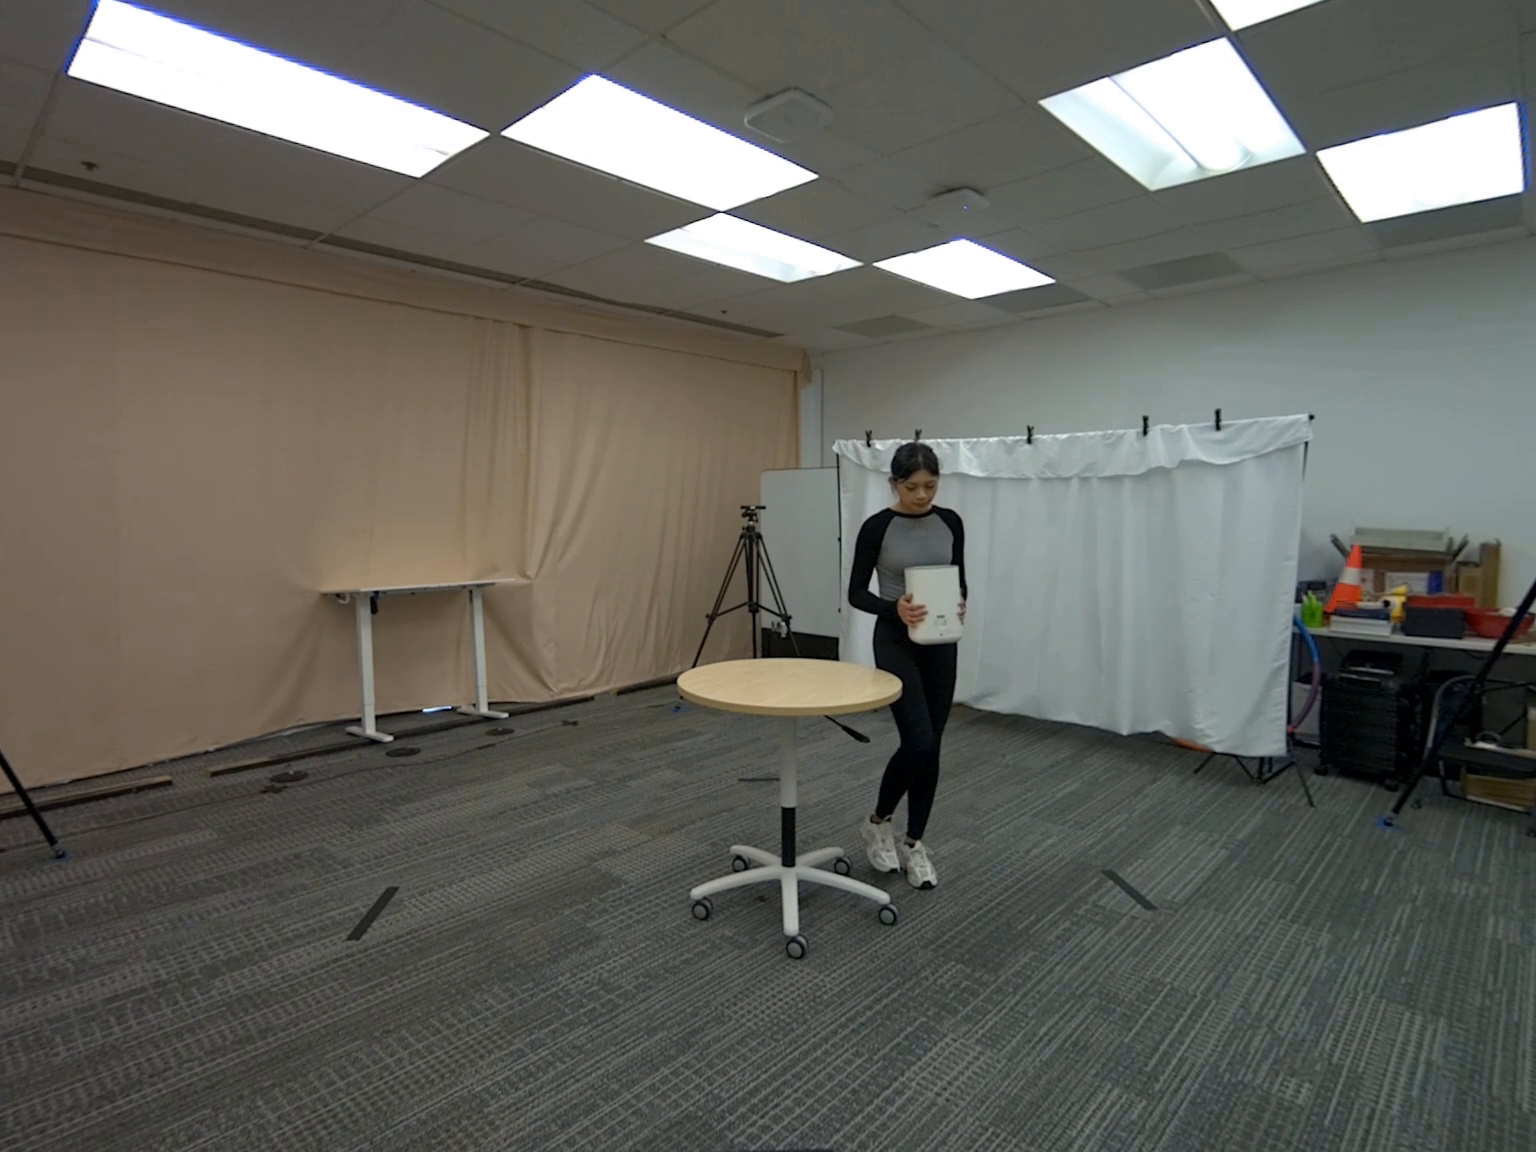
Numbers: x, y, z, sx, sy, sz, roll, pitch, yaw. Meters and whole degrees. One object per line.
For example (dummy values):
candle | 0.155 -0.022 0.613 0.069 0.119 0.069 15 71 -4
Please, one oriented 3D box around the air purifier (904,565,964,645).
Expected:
air purifier | 0.579 0.098 2.959 0.172 0.265 0.170 -2 0 2
